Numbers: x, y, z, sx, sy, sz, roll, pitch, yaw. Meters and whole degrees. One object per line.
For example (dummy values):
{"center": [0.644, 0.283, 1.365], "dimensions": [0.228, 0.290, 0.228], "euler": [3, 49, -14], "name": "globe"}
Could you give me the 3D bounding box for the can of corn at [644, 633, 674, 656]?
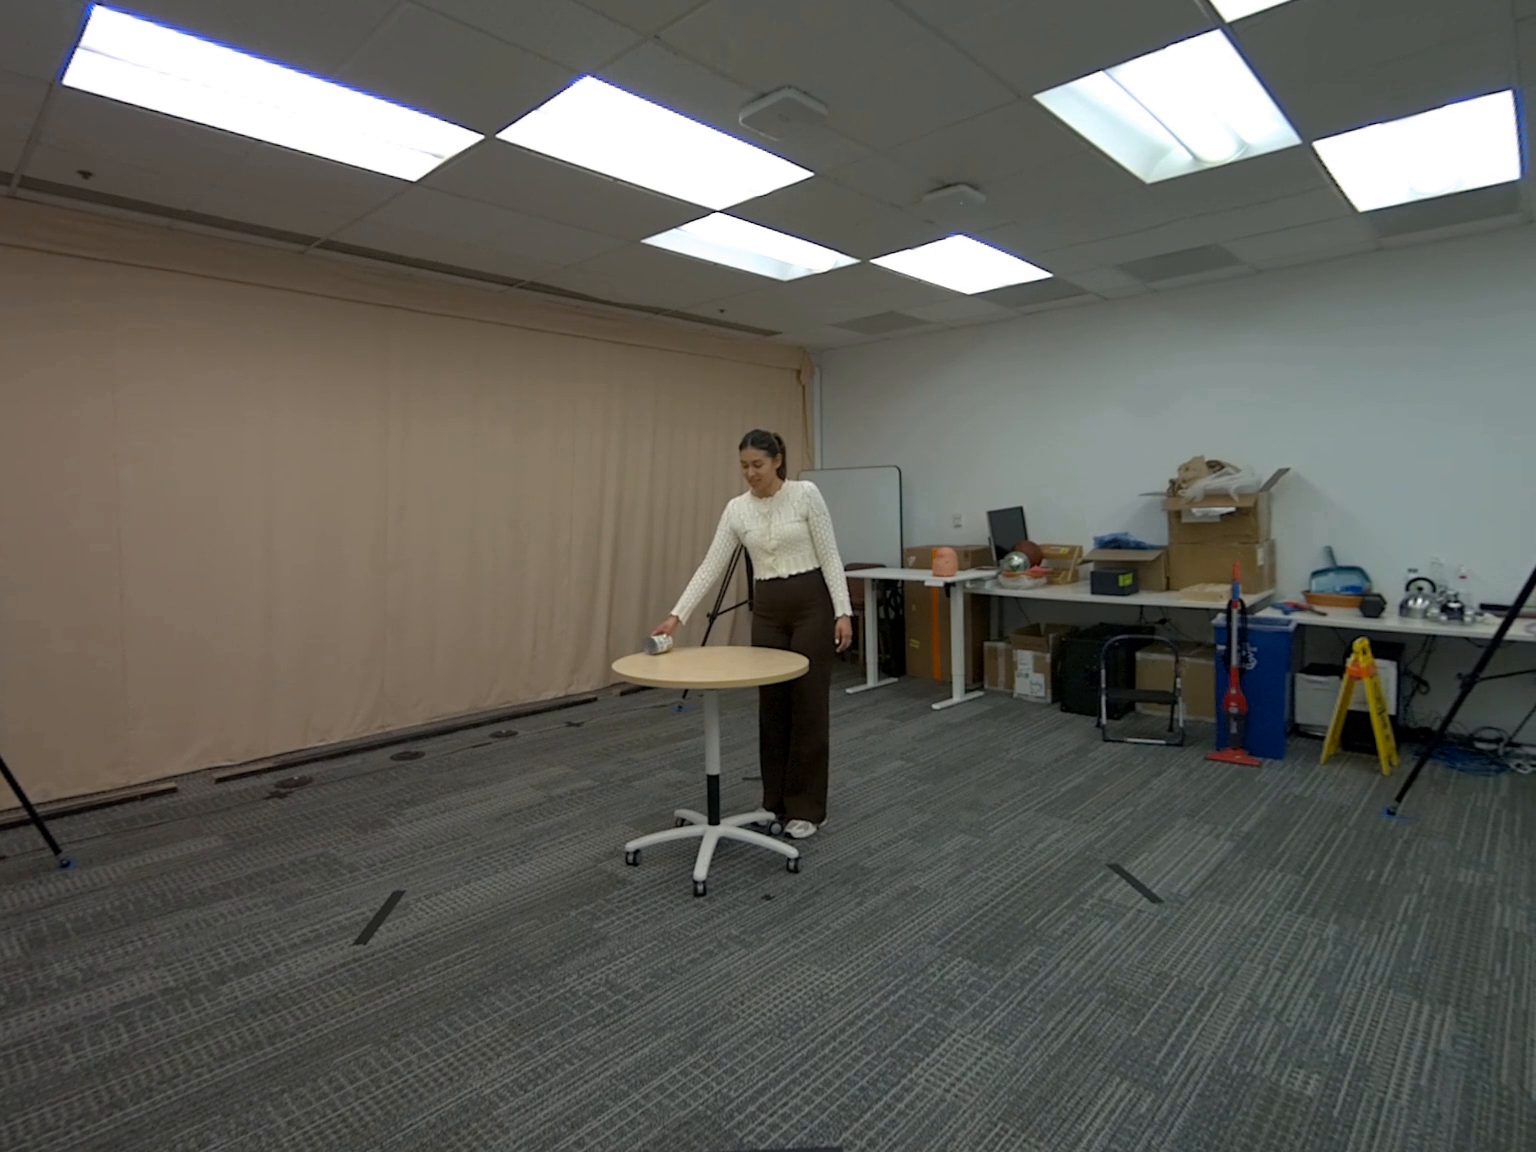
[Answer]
{"center": [-0.454, 0.283, 3.507], "dimensions": [0.076, 0.074, 0.108], "euler": [2, 4, 32], "name": "can of corn"}
